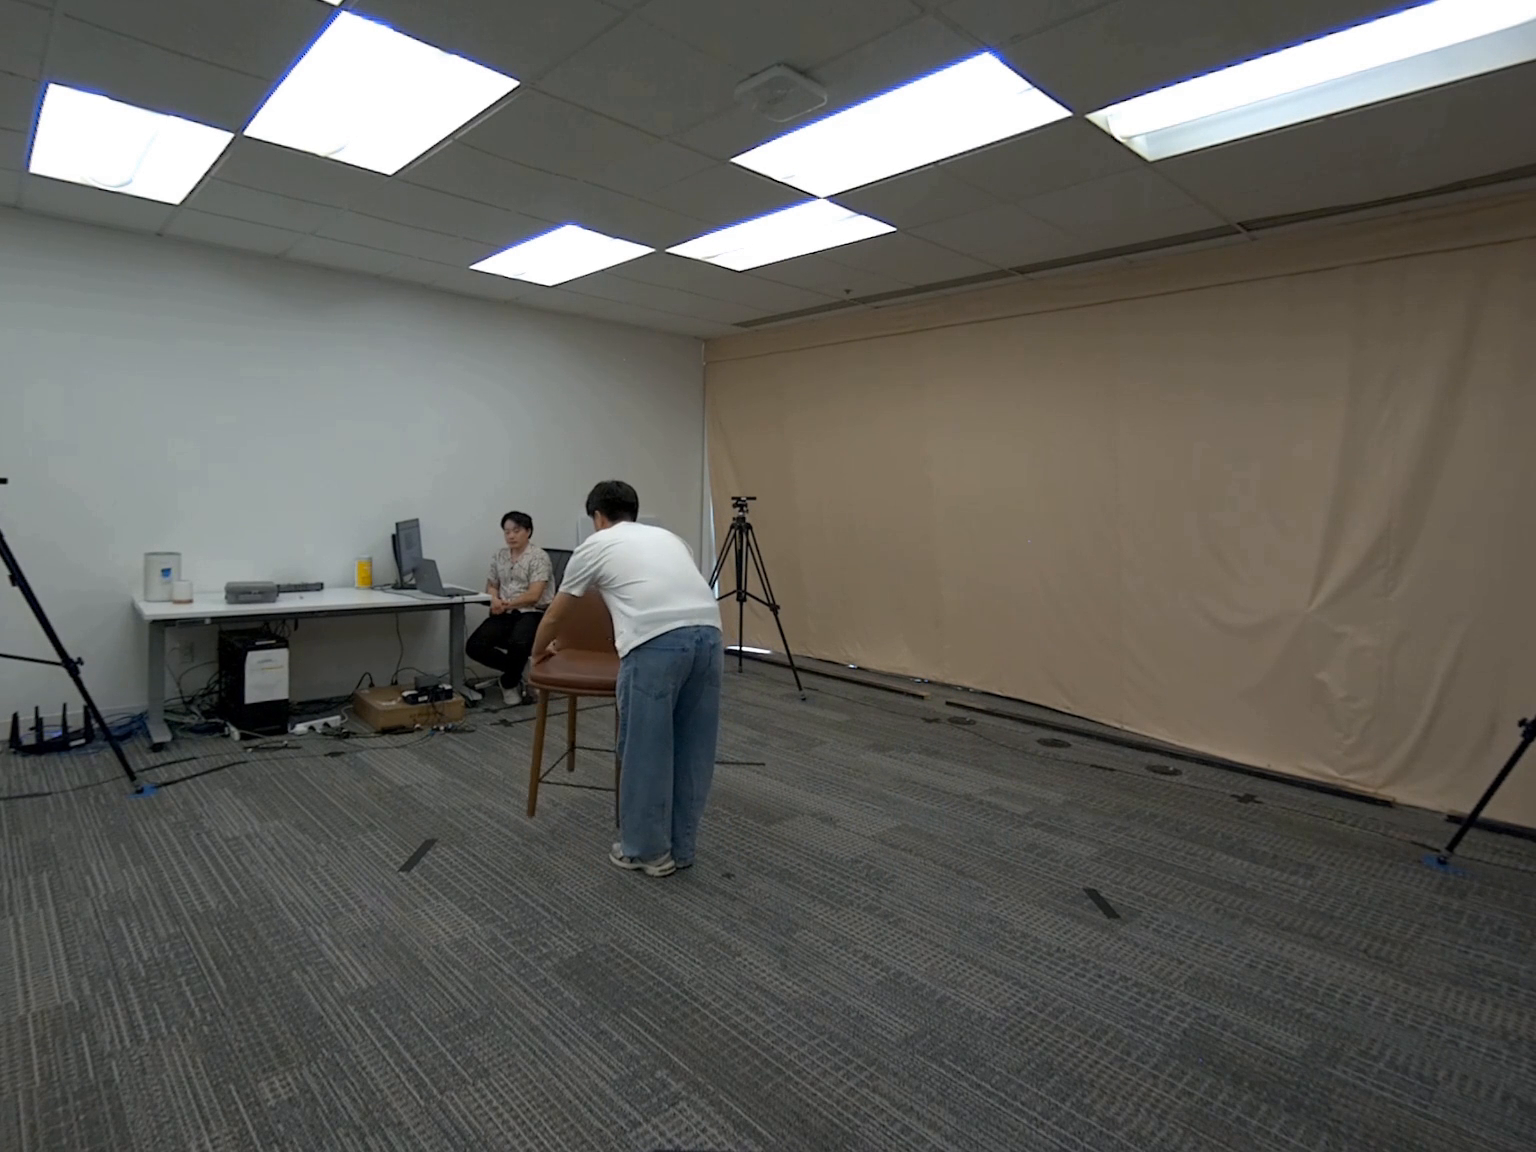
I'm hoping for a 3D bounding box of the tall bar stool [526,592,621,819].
[{"bbox_3d":[-0.749,0.536,3.538,0.460,0.885,0.467,4,8,8],"label":"tall bar stool"}]
